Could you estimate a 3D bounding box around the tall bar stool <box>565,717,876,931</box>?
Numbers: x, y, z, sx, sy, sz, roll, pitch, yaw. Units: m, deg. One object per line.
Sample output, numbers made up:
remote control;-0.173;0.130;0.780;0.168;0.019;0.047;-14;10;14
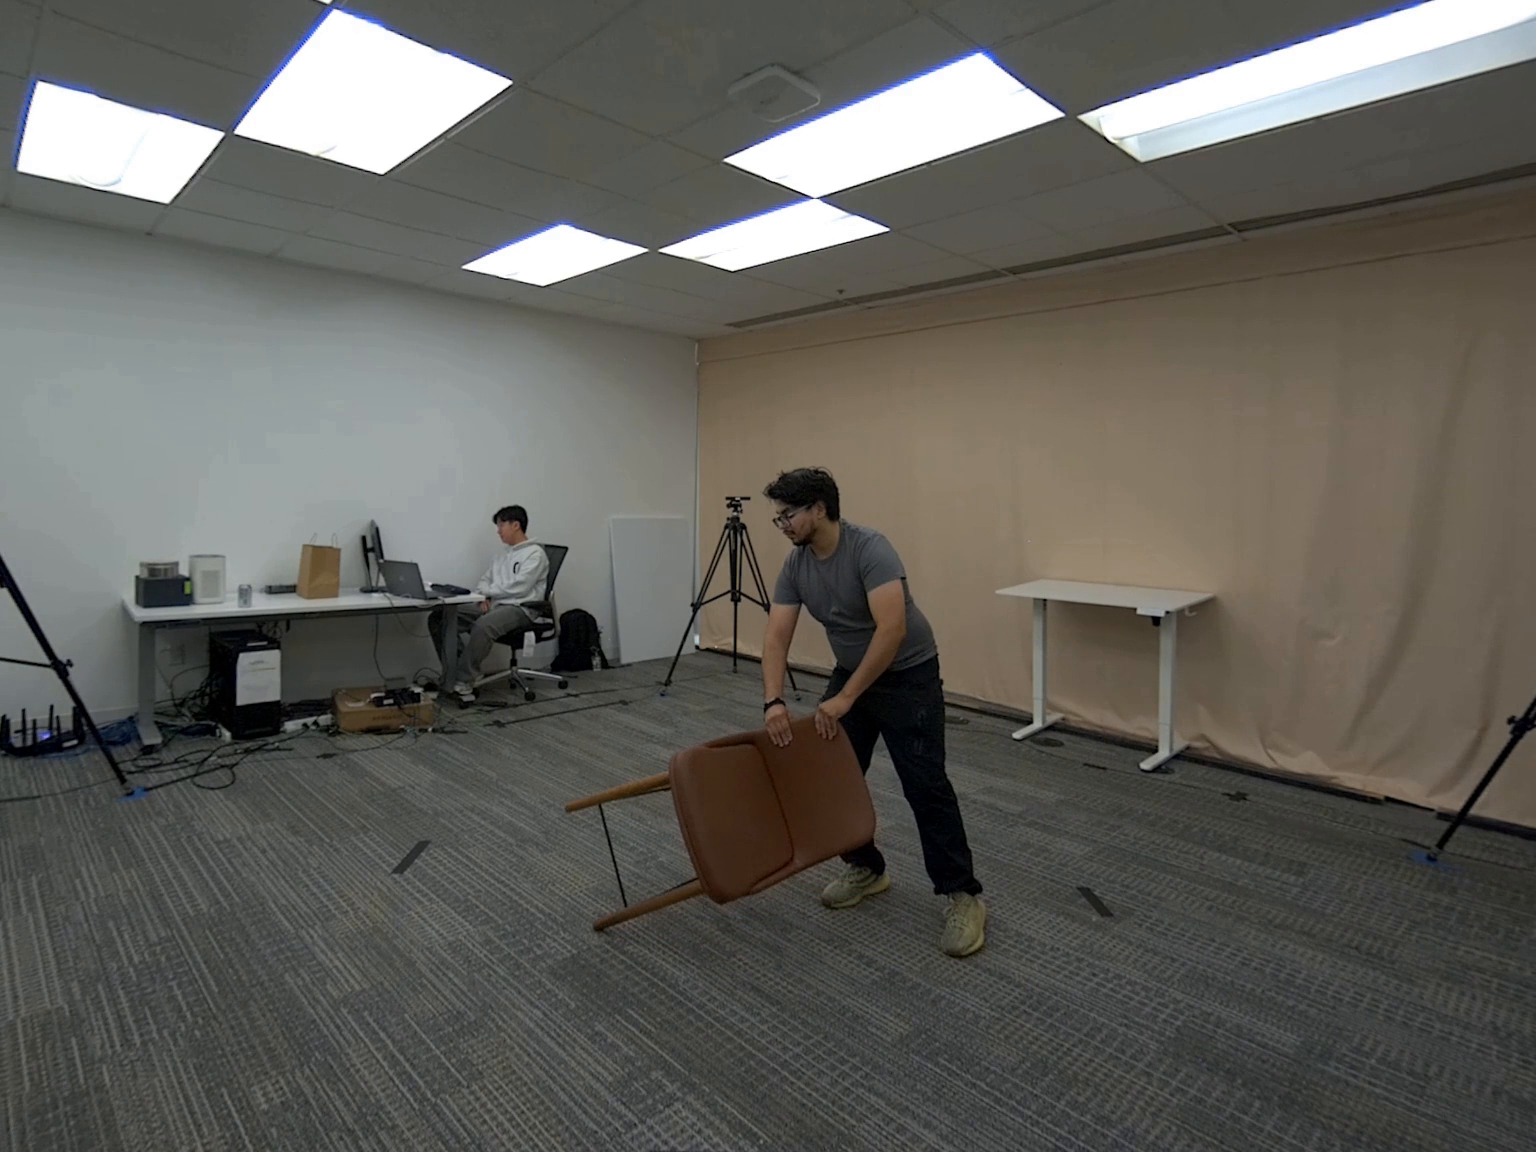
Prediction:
tall bar stool;-0.173;0.771;2.639;0.897;0.464;0.456;-31;-21;37
